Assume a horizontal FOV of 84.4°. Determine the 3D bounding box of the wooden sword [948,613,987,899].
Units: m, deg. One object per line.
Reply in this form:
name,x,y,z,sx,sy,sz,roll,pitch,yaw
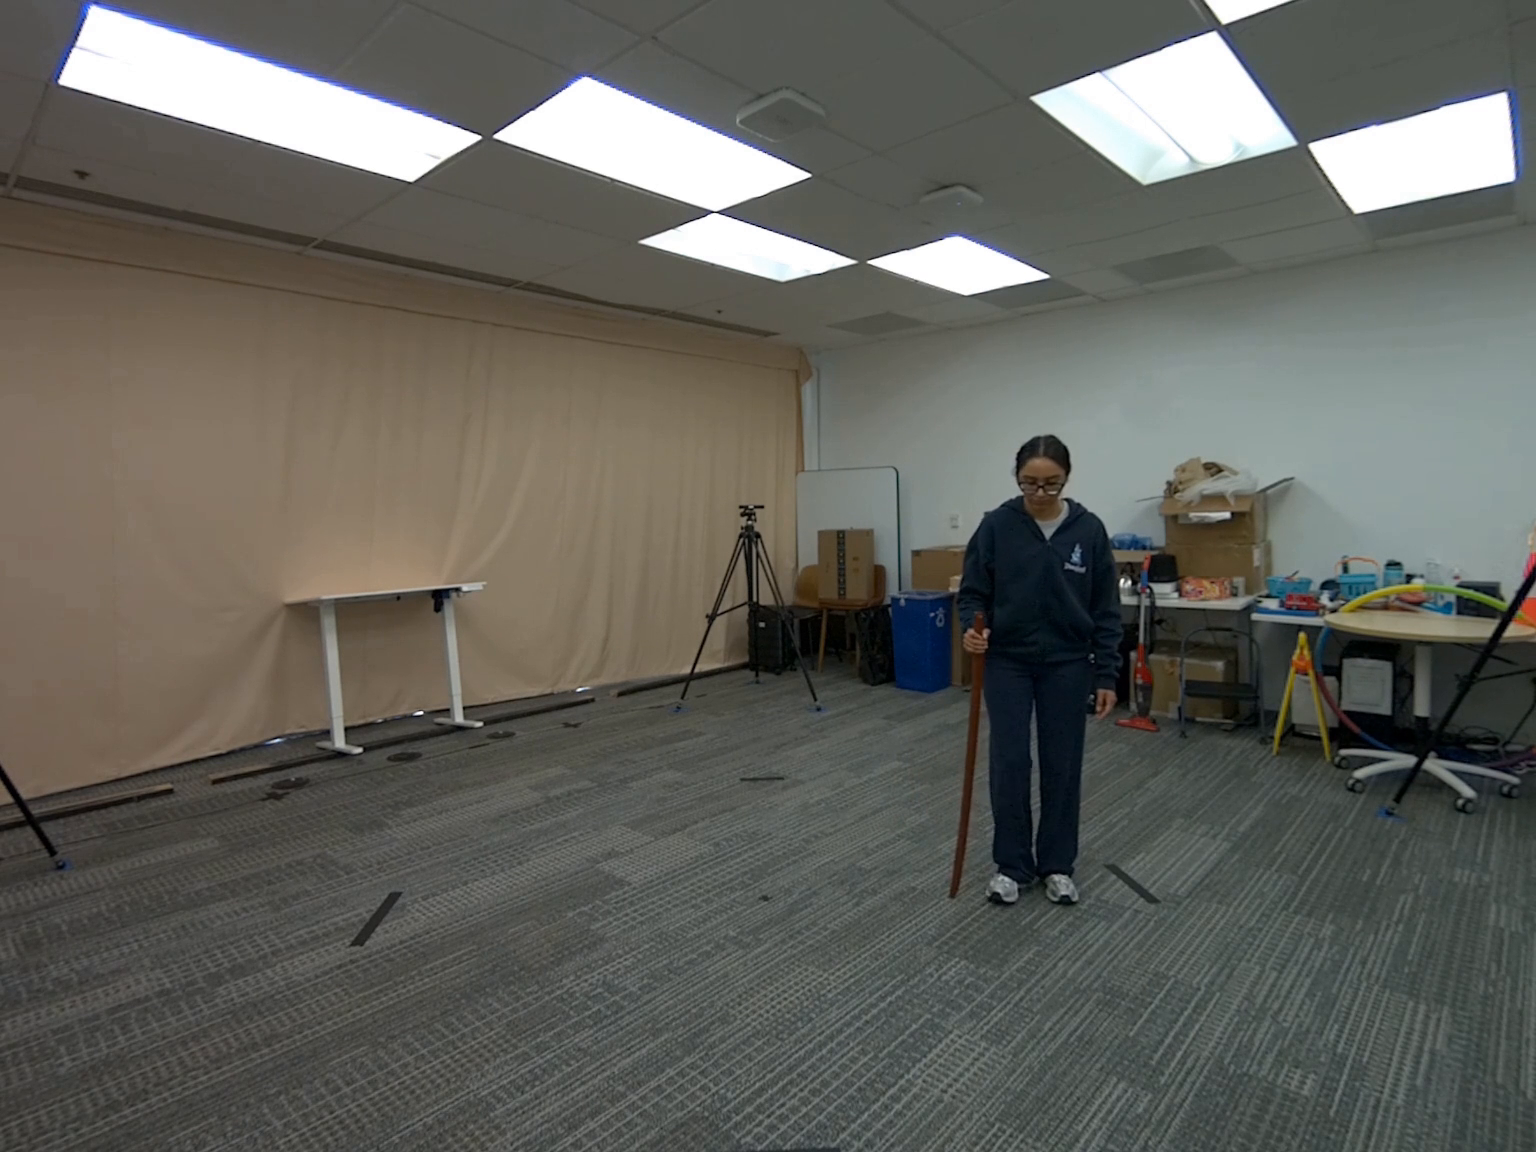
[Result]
wooden sword,0.693,0.645,2.884,0.050,1.019,0.025,-4,10,-36
